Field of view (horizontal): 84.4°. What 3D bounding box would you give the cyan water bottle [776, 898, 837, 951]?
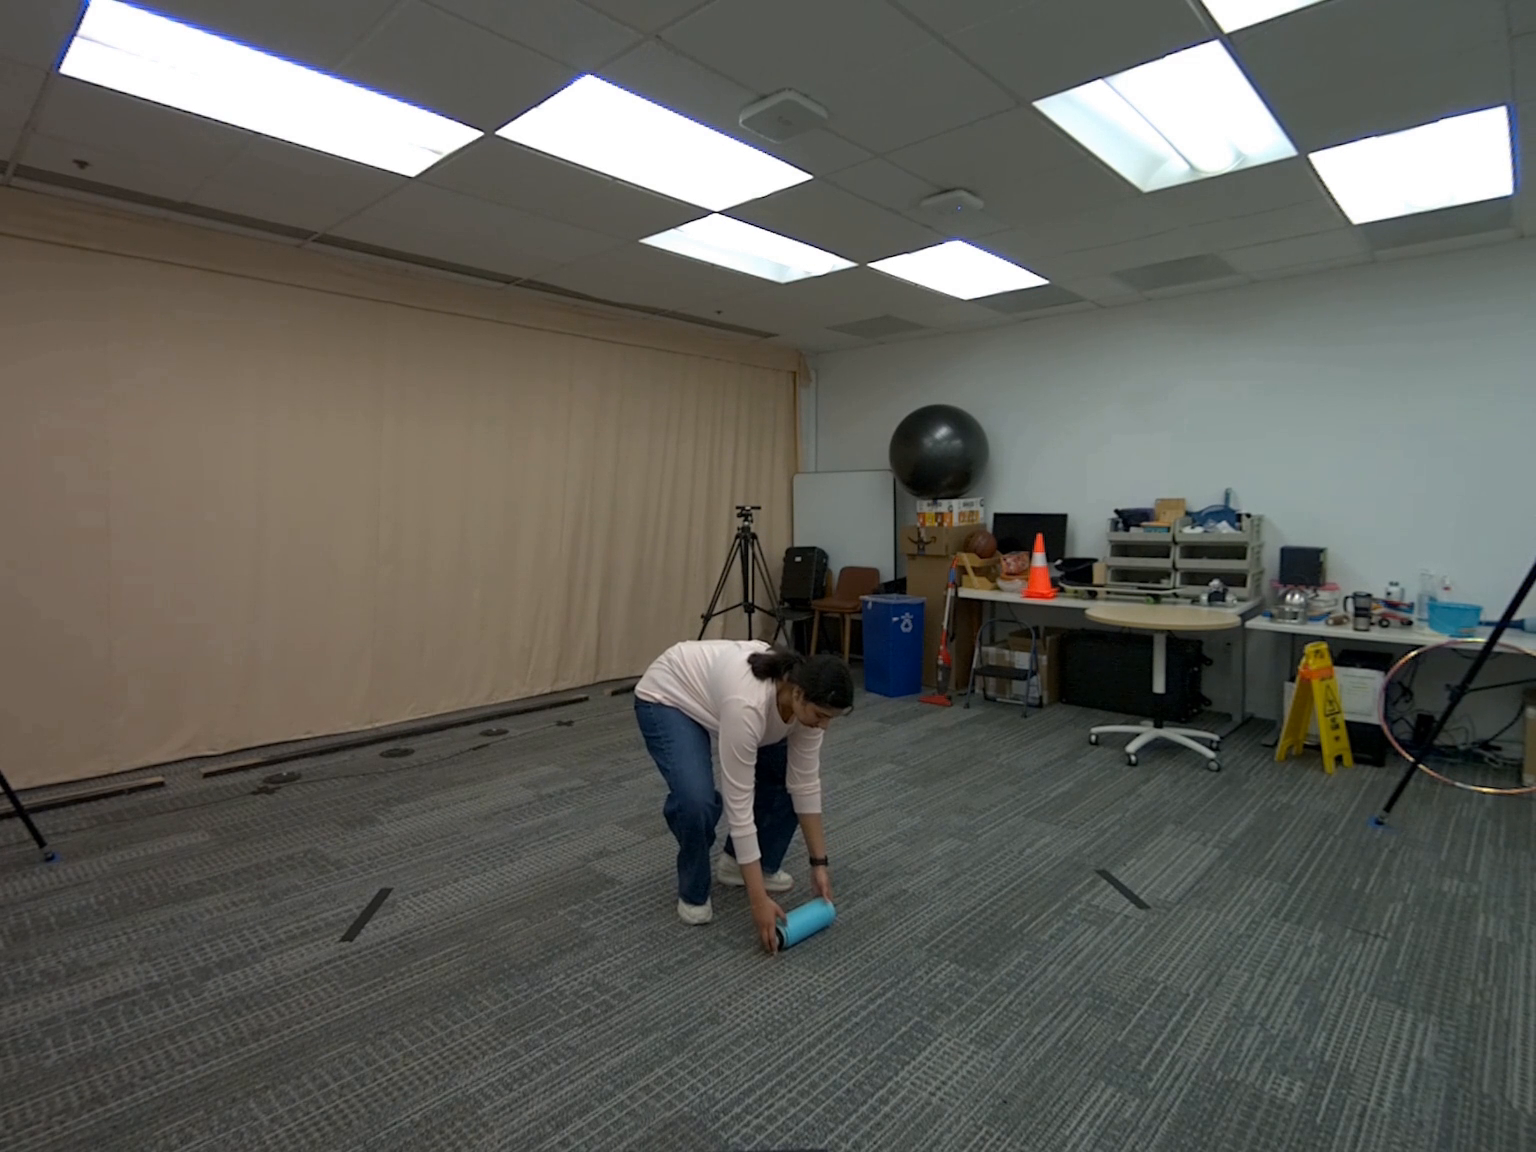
[{"bbox_3d":[0.089,1.114,2.713,0.095,0.092,0.275,4,10,43],"label":"cyan water bottle"}]
